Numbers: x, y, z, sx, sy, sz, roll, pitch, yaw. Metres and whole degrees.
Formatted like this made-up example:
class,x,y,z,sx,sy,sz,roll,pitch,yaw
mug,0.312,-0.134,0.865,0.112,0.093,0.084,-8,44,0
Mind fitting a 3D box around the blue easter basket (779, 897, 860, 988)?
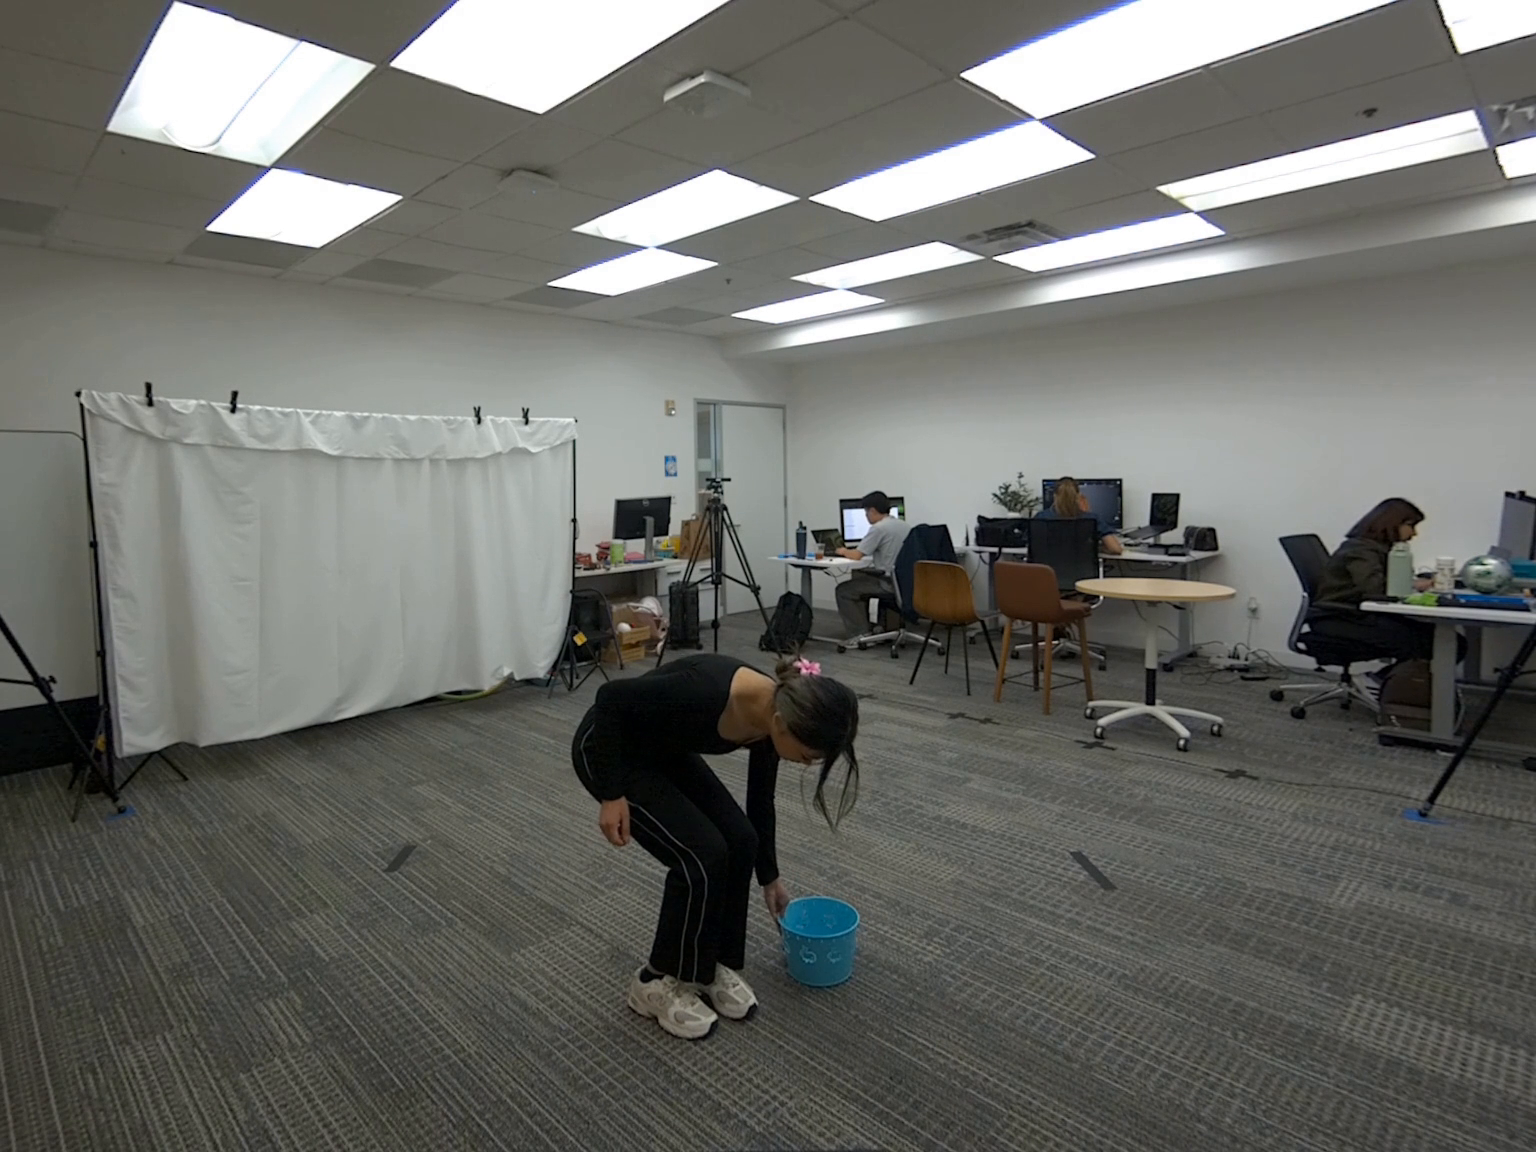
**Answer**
class,x,y,z,sx,sy,sz,roll,pitch,yaw
blue easter basket,0.147,1.037,2.430,0.243,0.155,0.245,-2,5,-2
